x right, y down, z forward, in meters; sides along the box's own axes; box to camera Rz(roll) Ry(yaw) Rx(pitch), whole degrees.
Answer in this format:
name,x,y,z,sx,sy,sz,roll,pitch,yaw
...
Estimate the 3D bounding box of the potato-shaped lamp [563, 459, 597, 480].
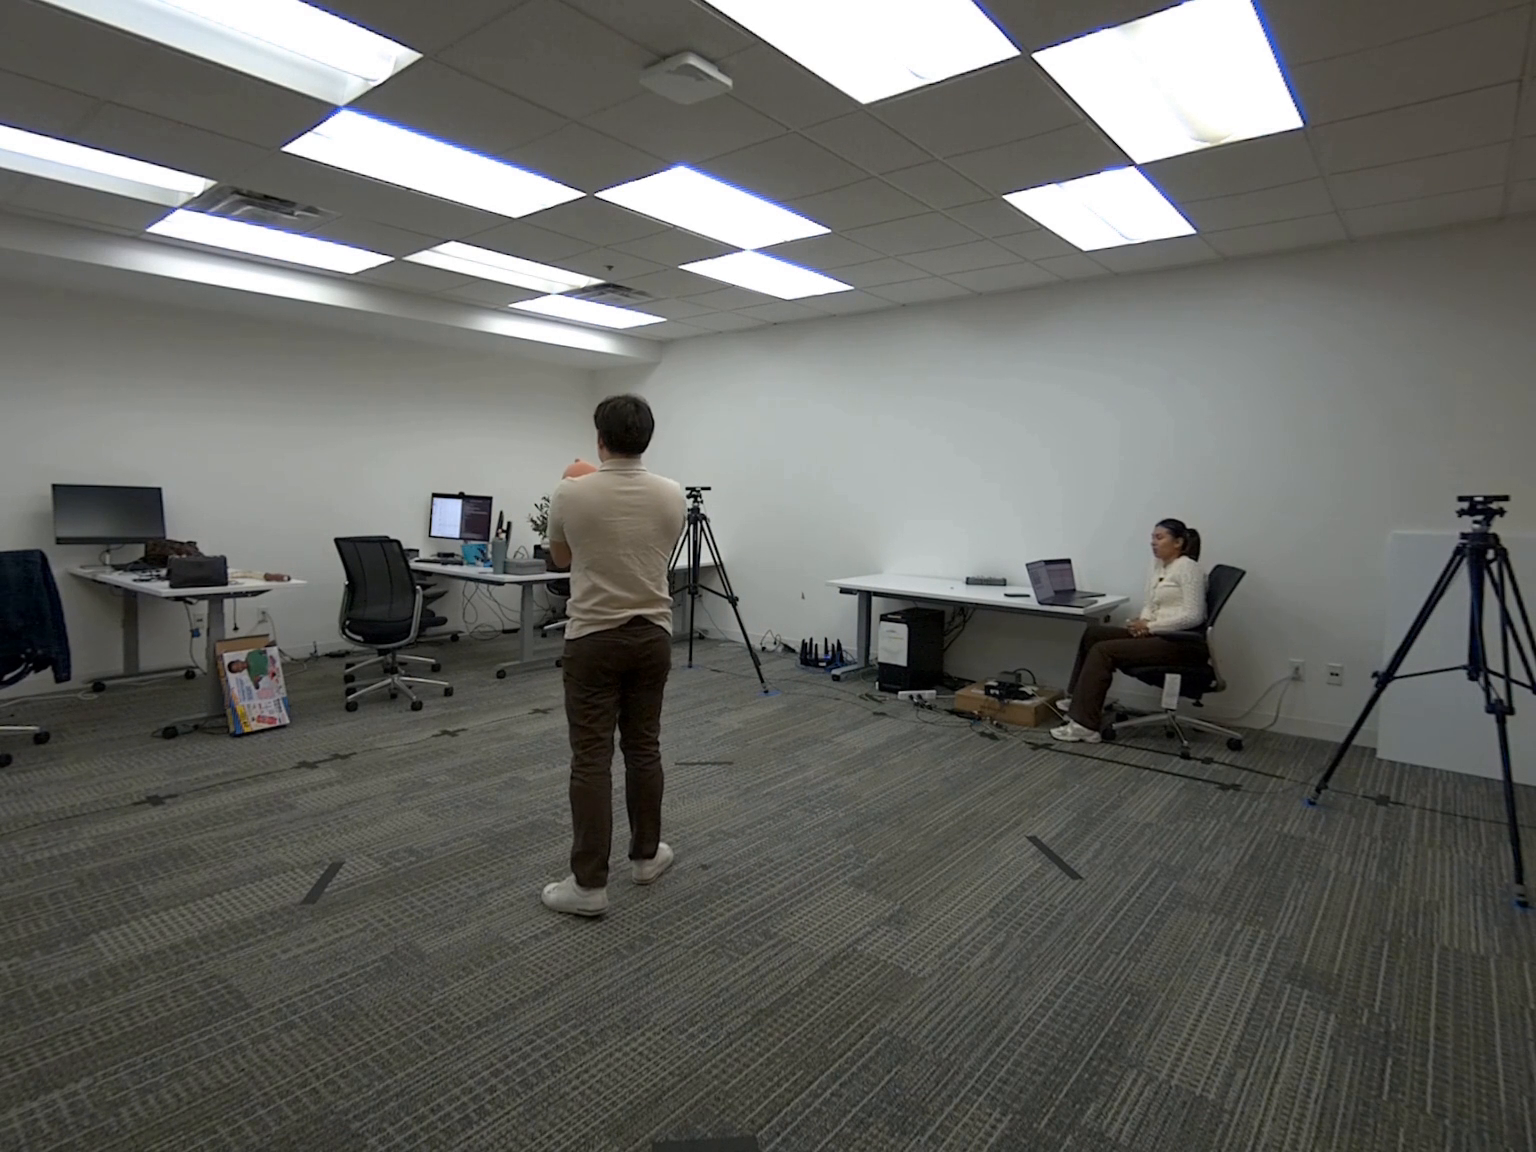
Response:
name,x,y,z,sx,sy,sz,roll,pitch,yaw
potato-shaped lamp,-0.726,-0.332,3.274,0.167,0.201,0.166,27,-34,-19
